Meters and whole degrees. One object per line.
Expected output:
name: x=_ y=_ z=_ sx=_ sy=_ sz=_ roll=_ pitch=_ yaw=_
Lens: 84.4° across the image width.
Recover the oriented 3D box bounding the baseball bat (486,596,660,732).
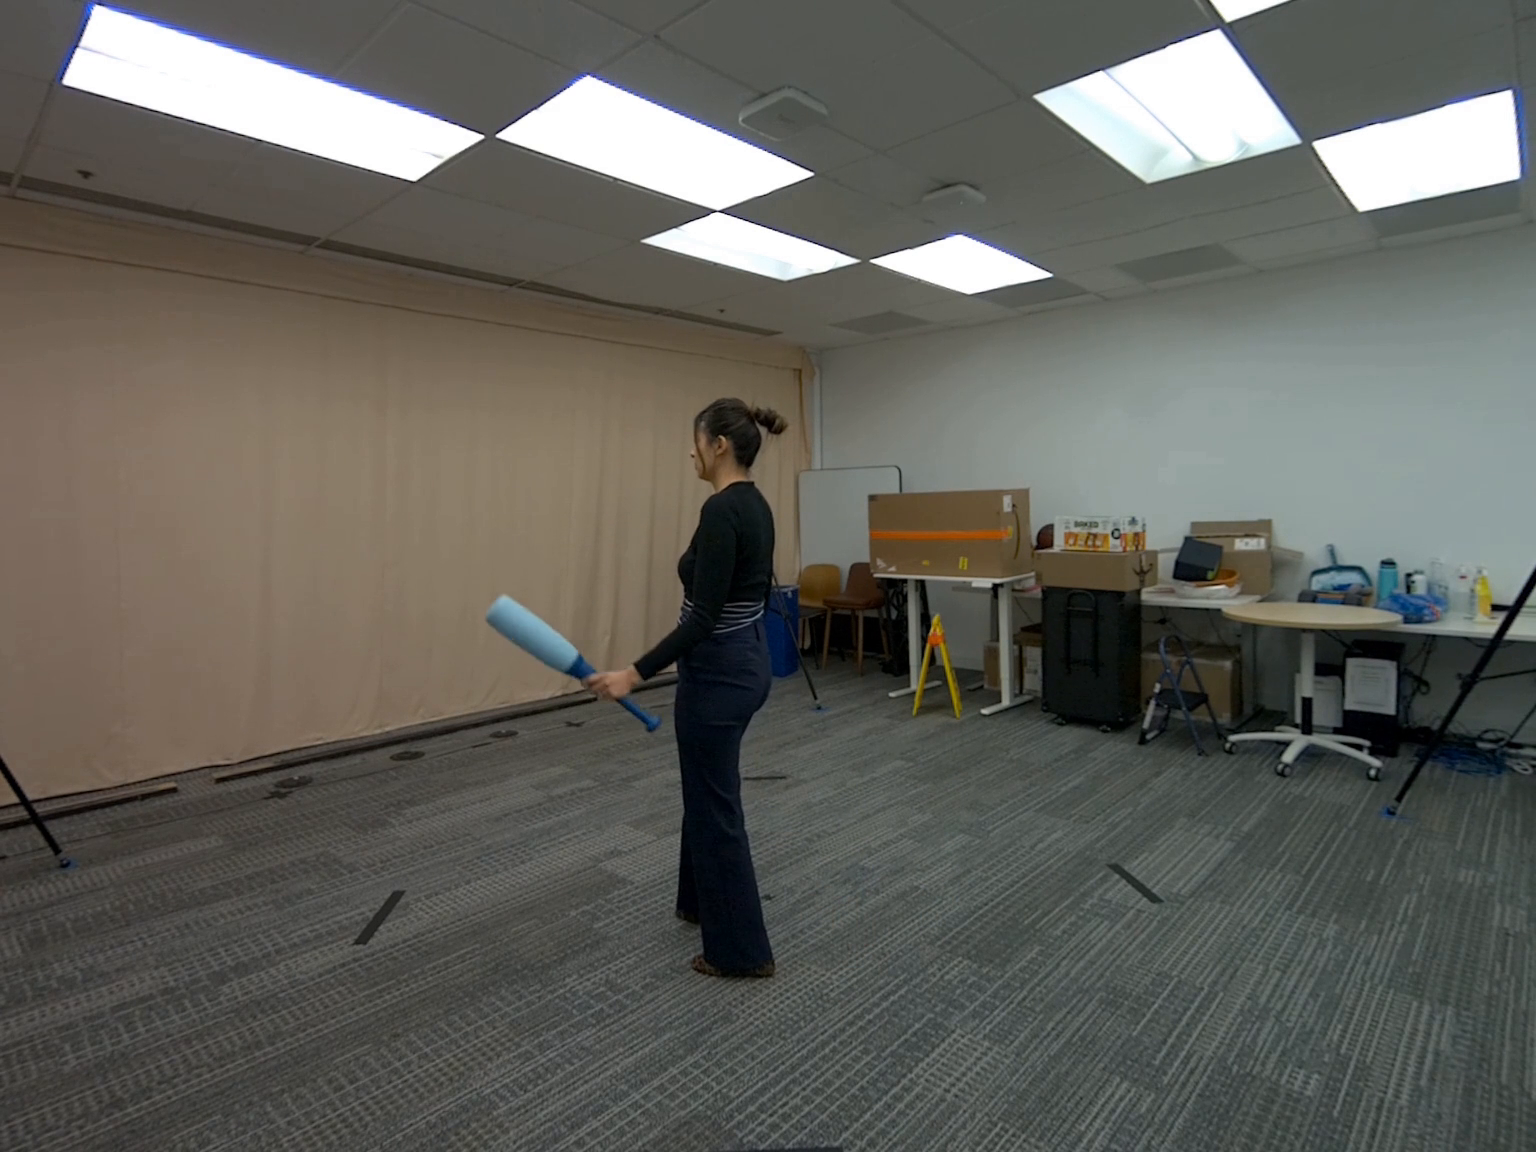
baseball bat: x=-0.485 y=0.219 z=2.216 sx=0.536 sy=0.089 sz=0.090 roll=39 pitch=-5 yaw=-10
